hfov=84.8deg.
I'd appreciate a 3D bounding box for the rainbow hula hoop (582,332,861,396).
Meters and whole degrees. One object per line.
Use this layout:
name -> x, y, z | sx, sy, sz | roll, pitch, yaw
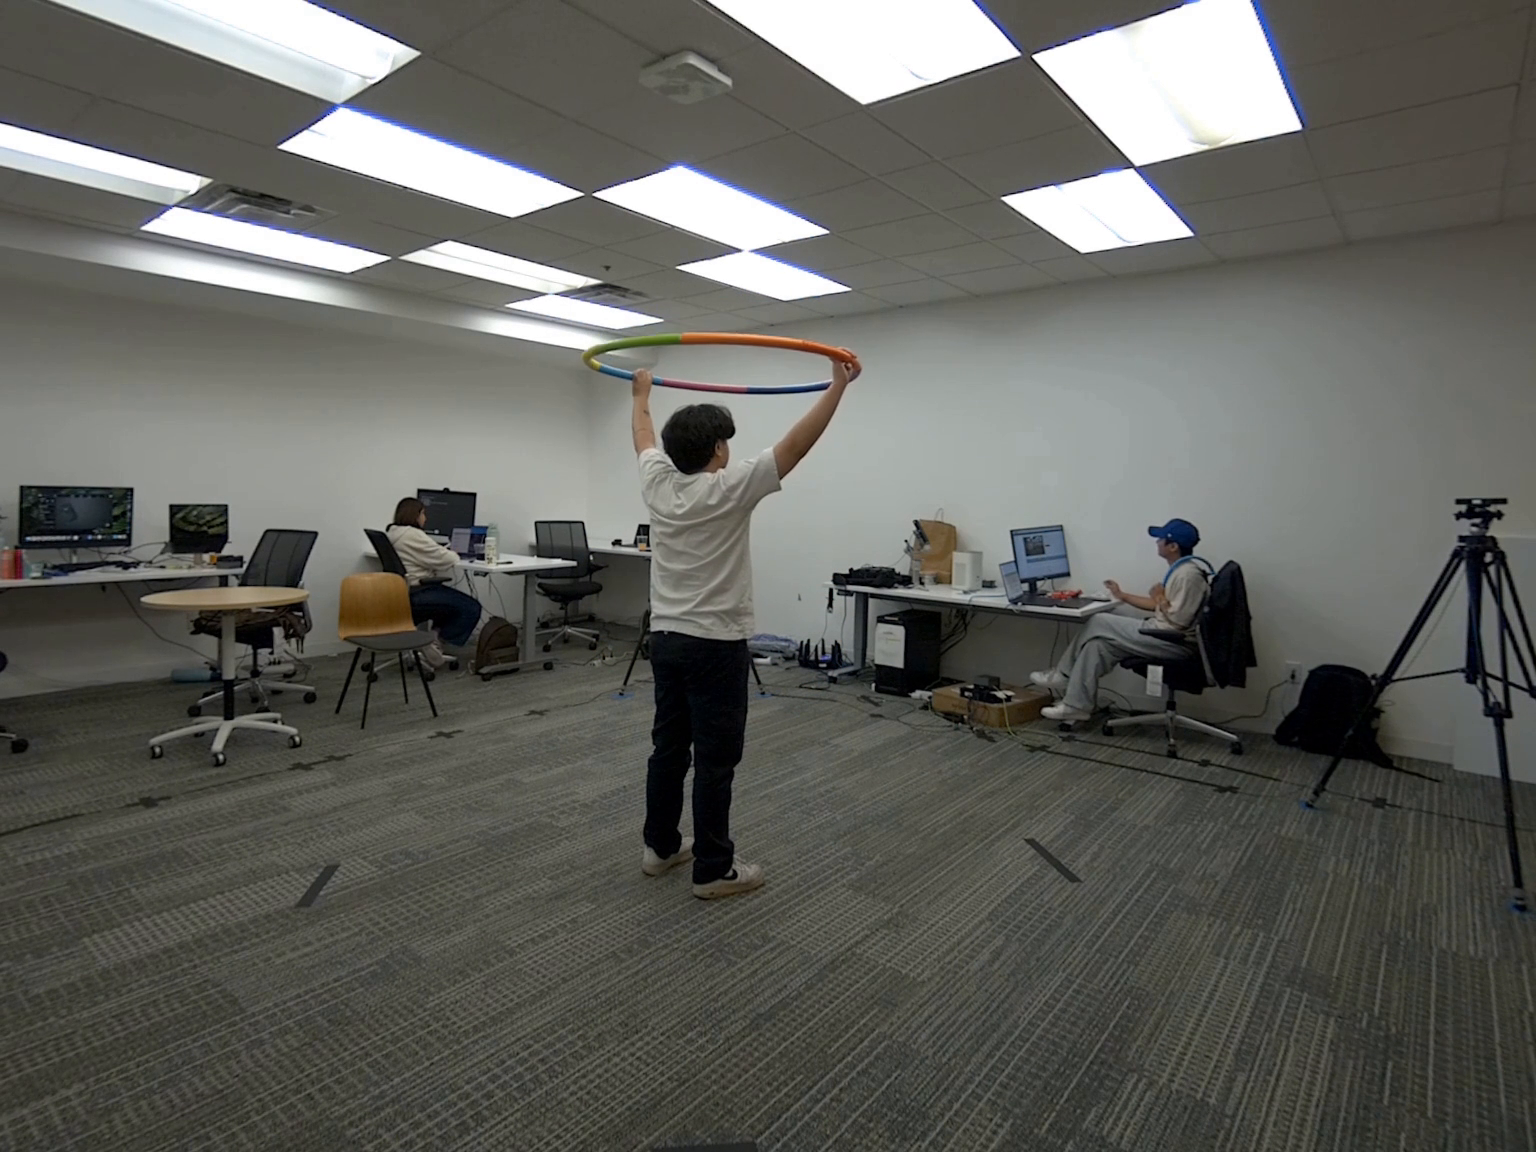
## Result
rainbow hula hoop -> -0.177, -0.748, 3.035 | 0.984, 0.051, 0.989 | 3, 4, -2
